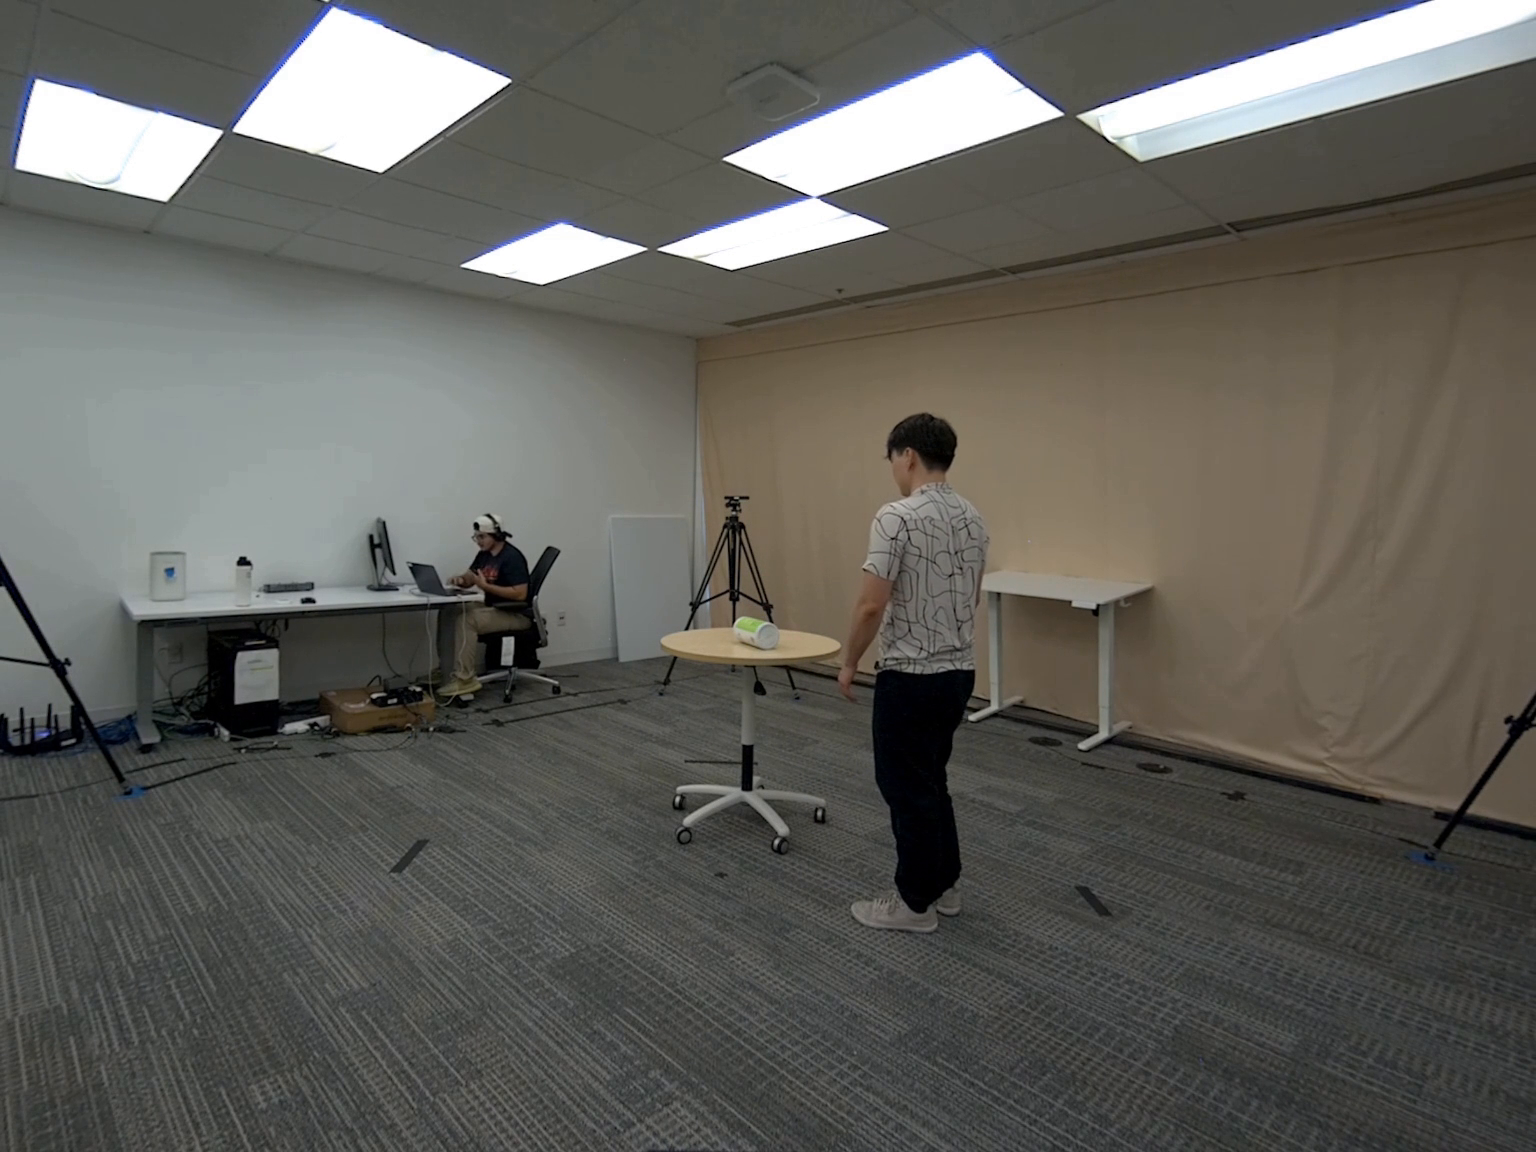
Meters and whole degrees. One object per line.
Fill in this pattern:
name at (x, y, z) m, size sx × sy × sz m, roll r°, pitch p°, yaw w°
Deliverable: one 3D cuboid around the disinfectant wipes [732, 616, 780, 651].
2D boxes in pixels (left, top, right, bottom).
disinfectant wipes at (-0.056, 0.233, 3.483) m, size 0.115 × 0.117 × 0.222 m, roll -1°, pitch 5°, yaw -28°
